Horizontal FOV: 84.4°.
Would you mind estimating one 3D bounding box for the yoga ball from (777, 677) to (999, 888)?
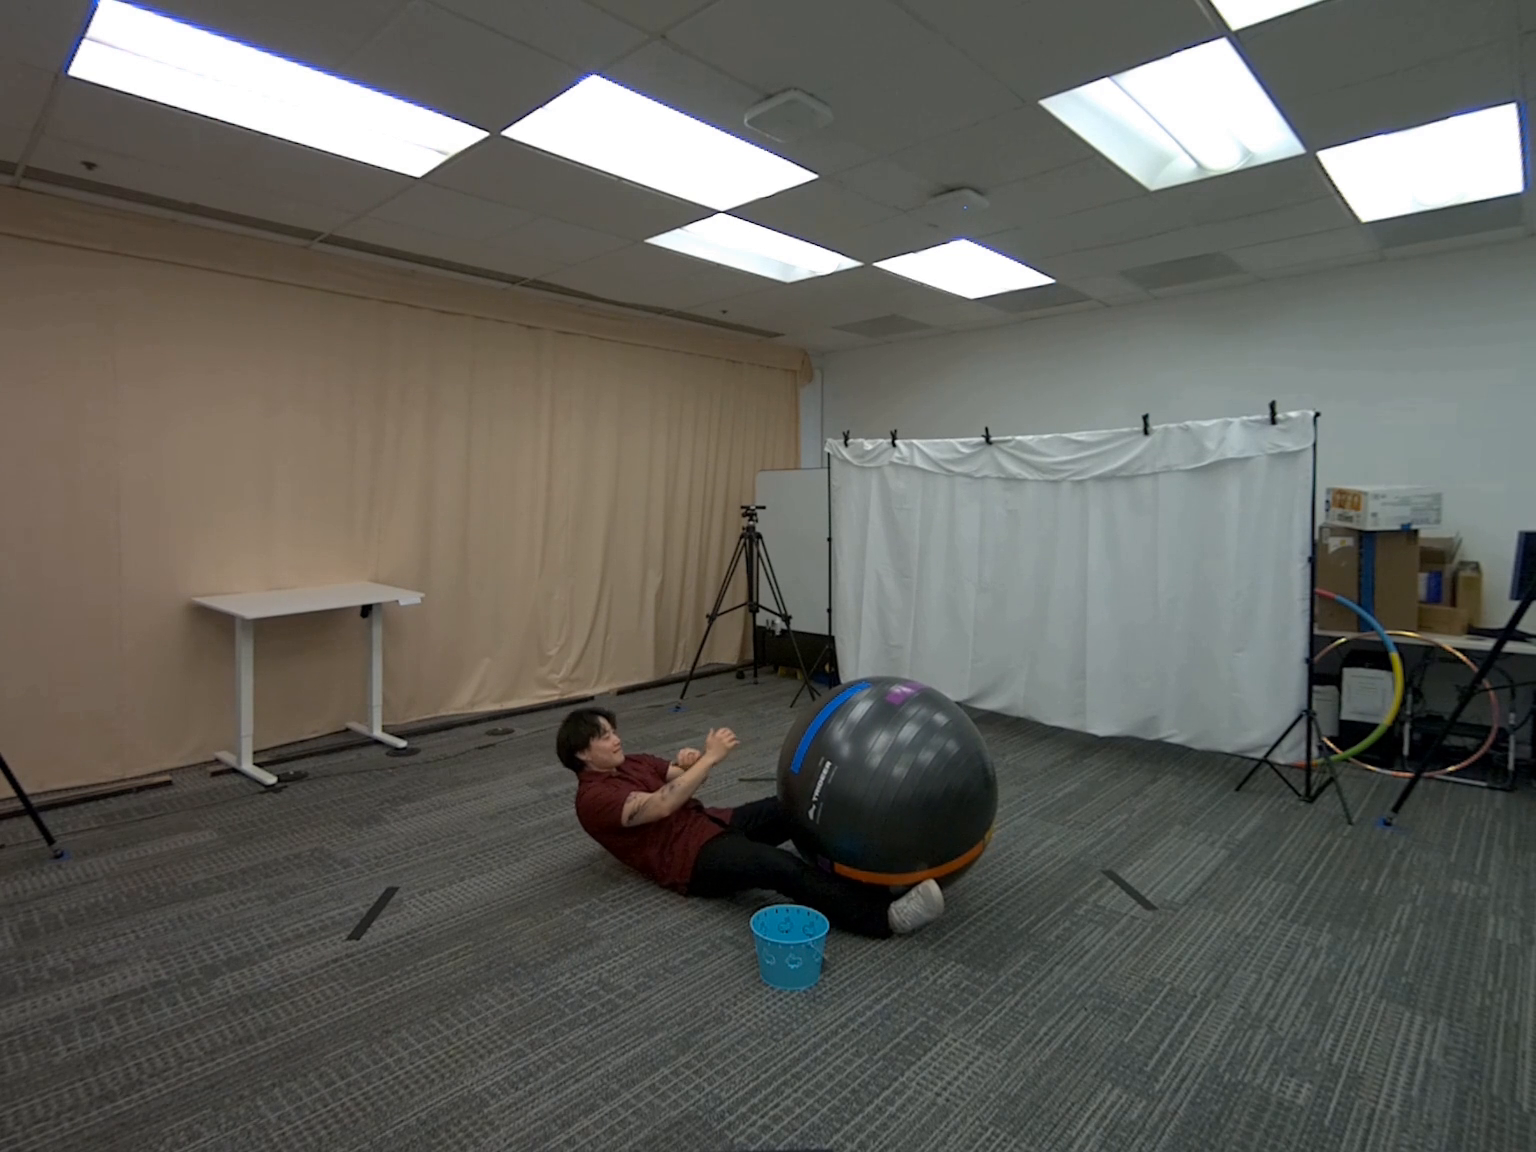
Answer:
[{"bbox_3d":[0.417,0.738,2.974,0.757,0.756,0.760,0,4,-2],"label":"yoga ball"}]
